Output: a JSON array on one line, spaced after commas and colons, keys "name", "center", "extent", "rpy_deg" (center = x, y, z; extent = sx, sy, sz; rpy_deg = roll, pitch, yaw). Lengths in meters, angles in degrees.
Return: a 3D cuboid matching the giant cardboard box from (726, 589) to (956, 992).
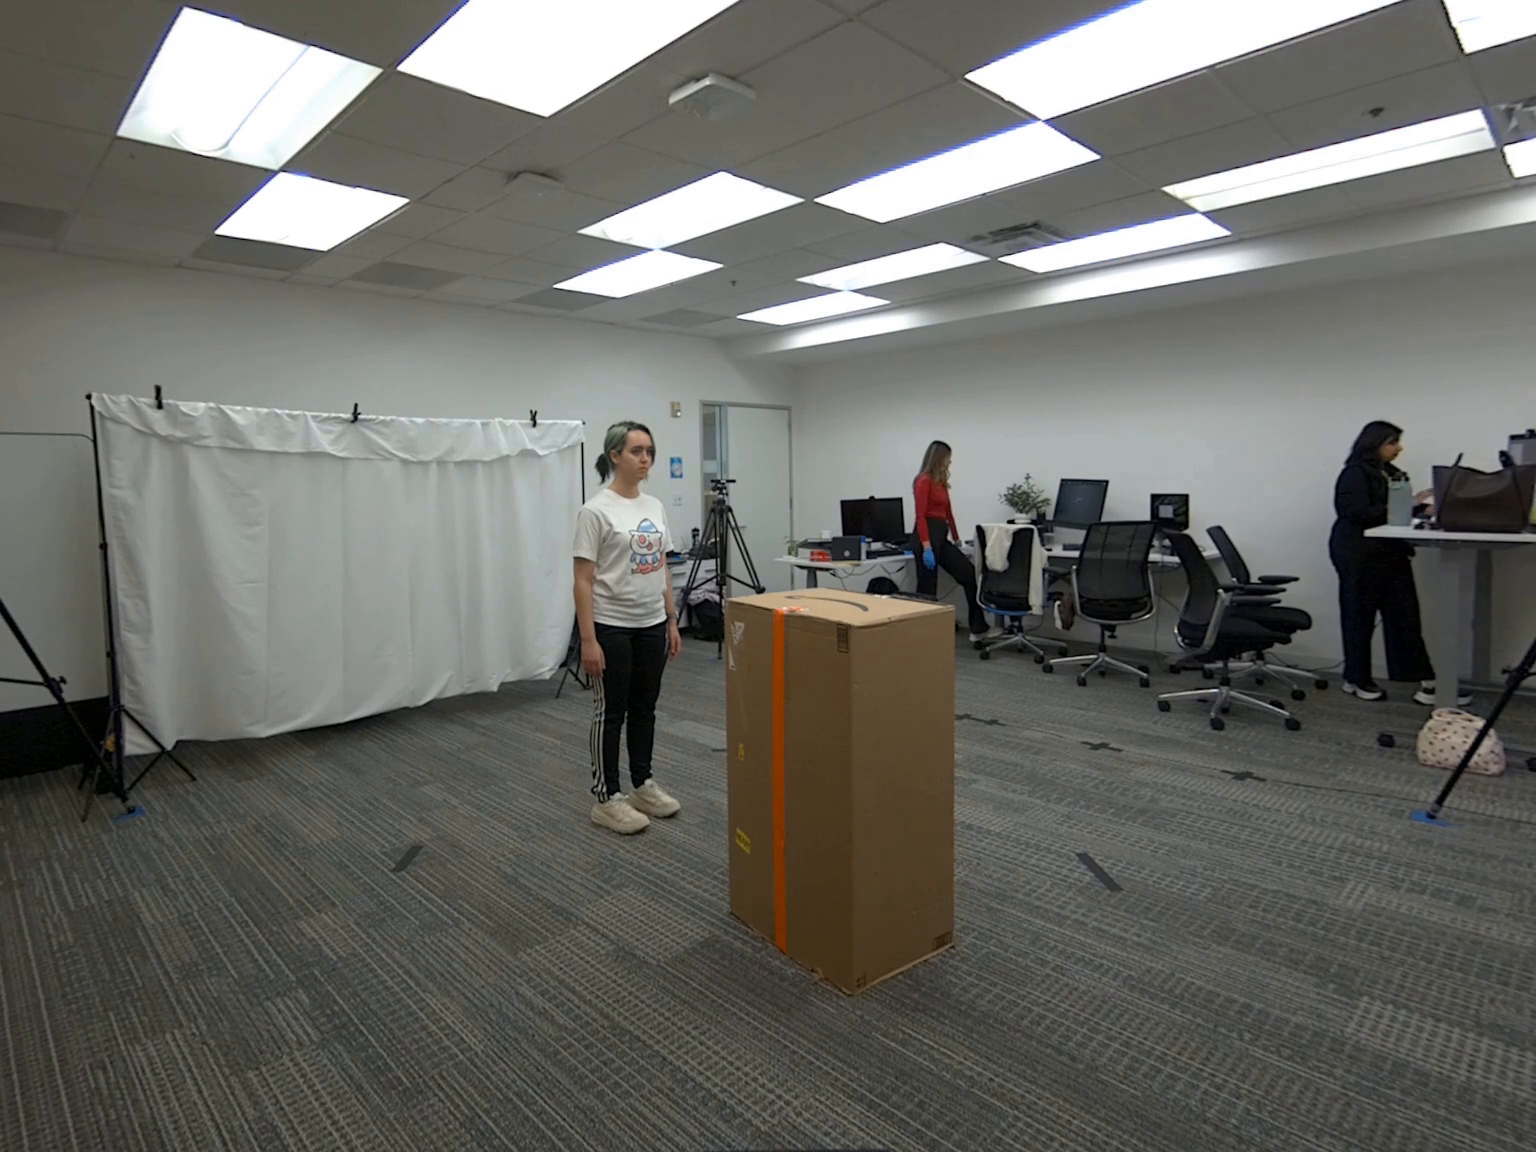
[{"name": "giant cardboard box", "center": [0.210, 0.592, 2.614], "extent": [0.435, 1.023, 0.601], "rpy_deg": [-3, 5, -38]}]
